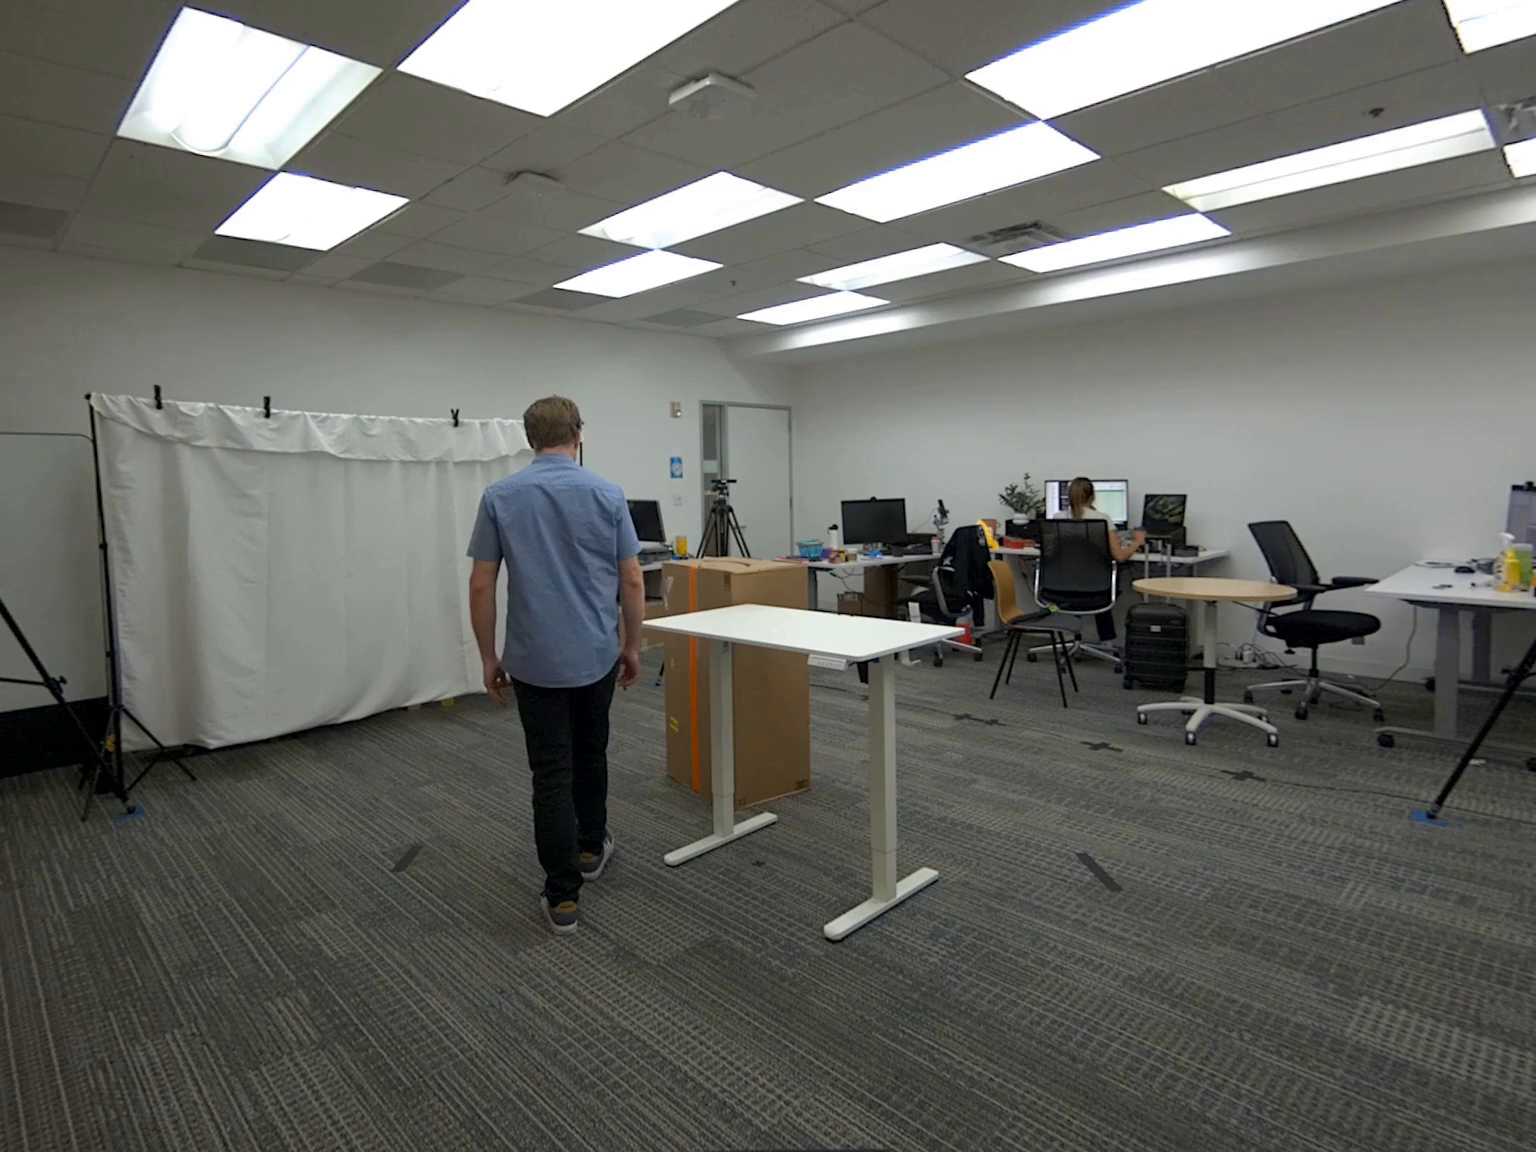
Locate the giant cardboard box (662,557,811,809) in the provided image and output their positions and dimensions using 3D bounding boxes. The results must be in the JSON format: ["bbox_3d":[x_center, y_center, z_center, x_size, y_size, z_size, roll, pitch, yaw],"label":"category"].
[{"bbox_3d":[-0.156,0.449,3.928,0.415,1.022,0.594,-4,5,-36],"label":"giant cardboard box"}]
